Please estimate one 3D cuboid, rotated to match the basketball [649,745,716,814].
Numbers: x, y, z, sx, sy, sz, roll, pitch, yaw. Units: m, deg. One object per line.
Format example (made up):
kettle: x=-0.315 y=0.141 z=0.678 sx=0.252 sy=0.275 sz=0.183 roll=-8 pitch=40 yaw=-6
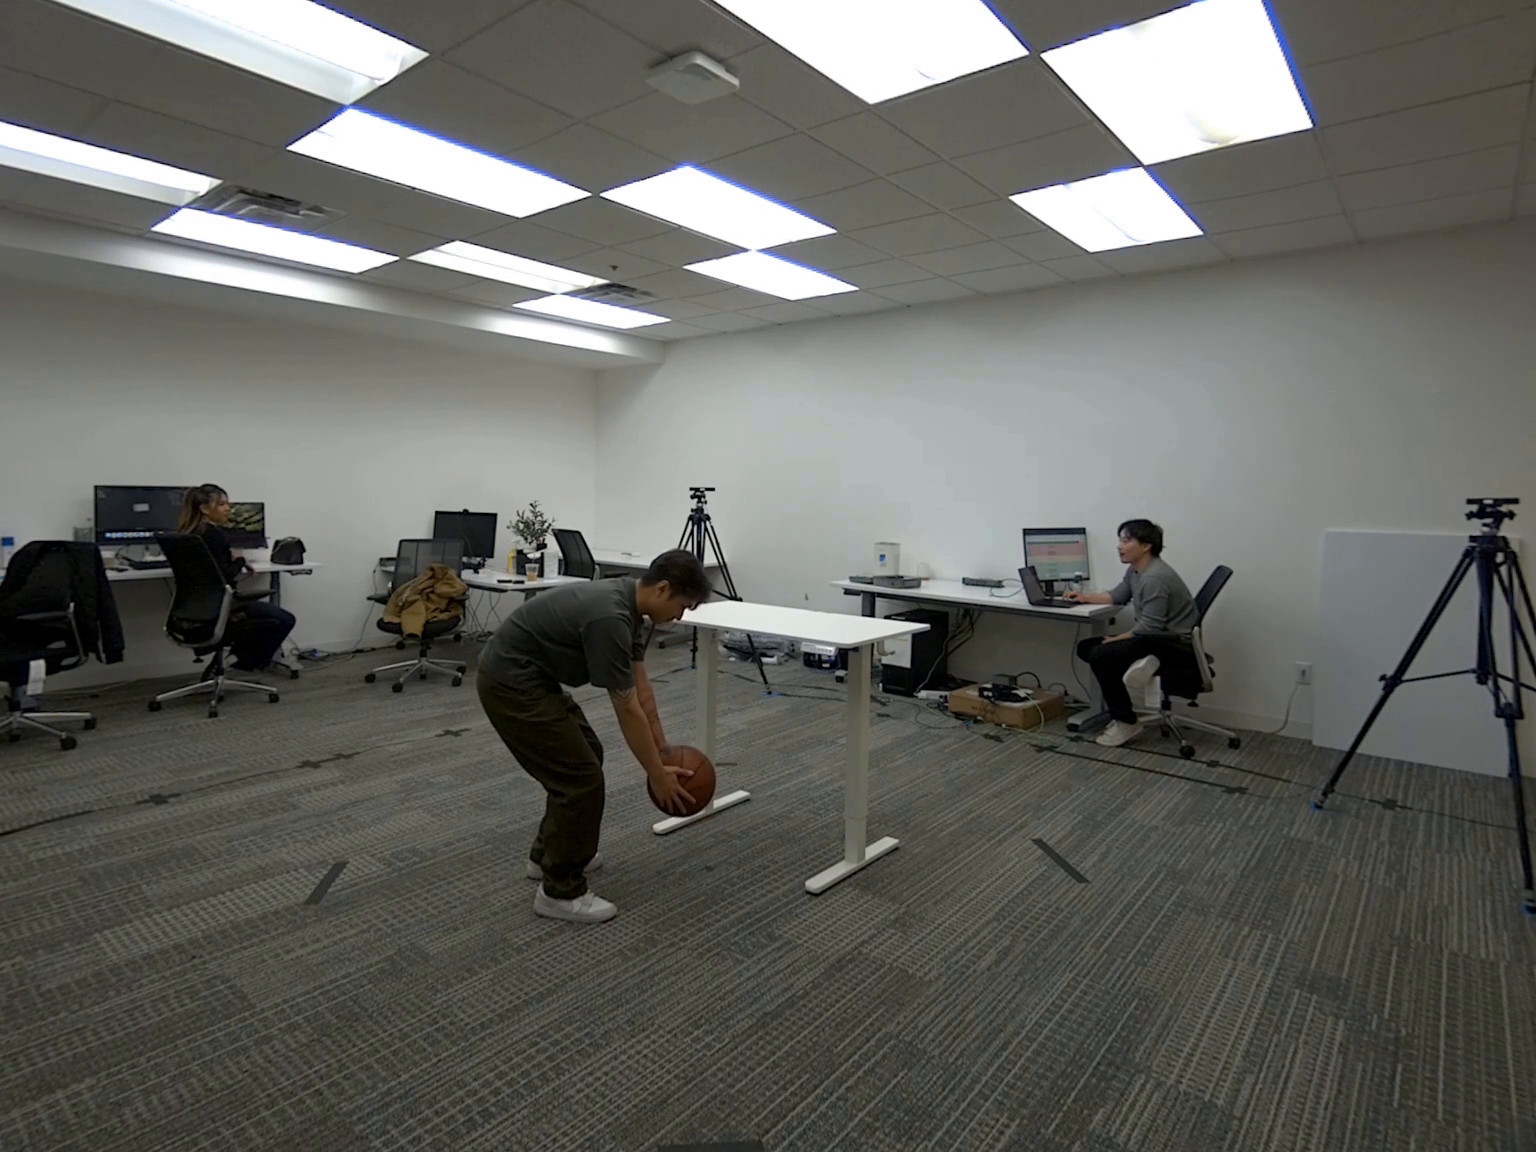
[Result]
basketball: x=-0.312 y=0.701 z=2.916 sx=0.235 sy=0.235 sz=0.237 roll=1 pitch=4 yaw=-2
